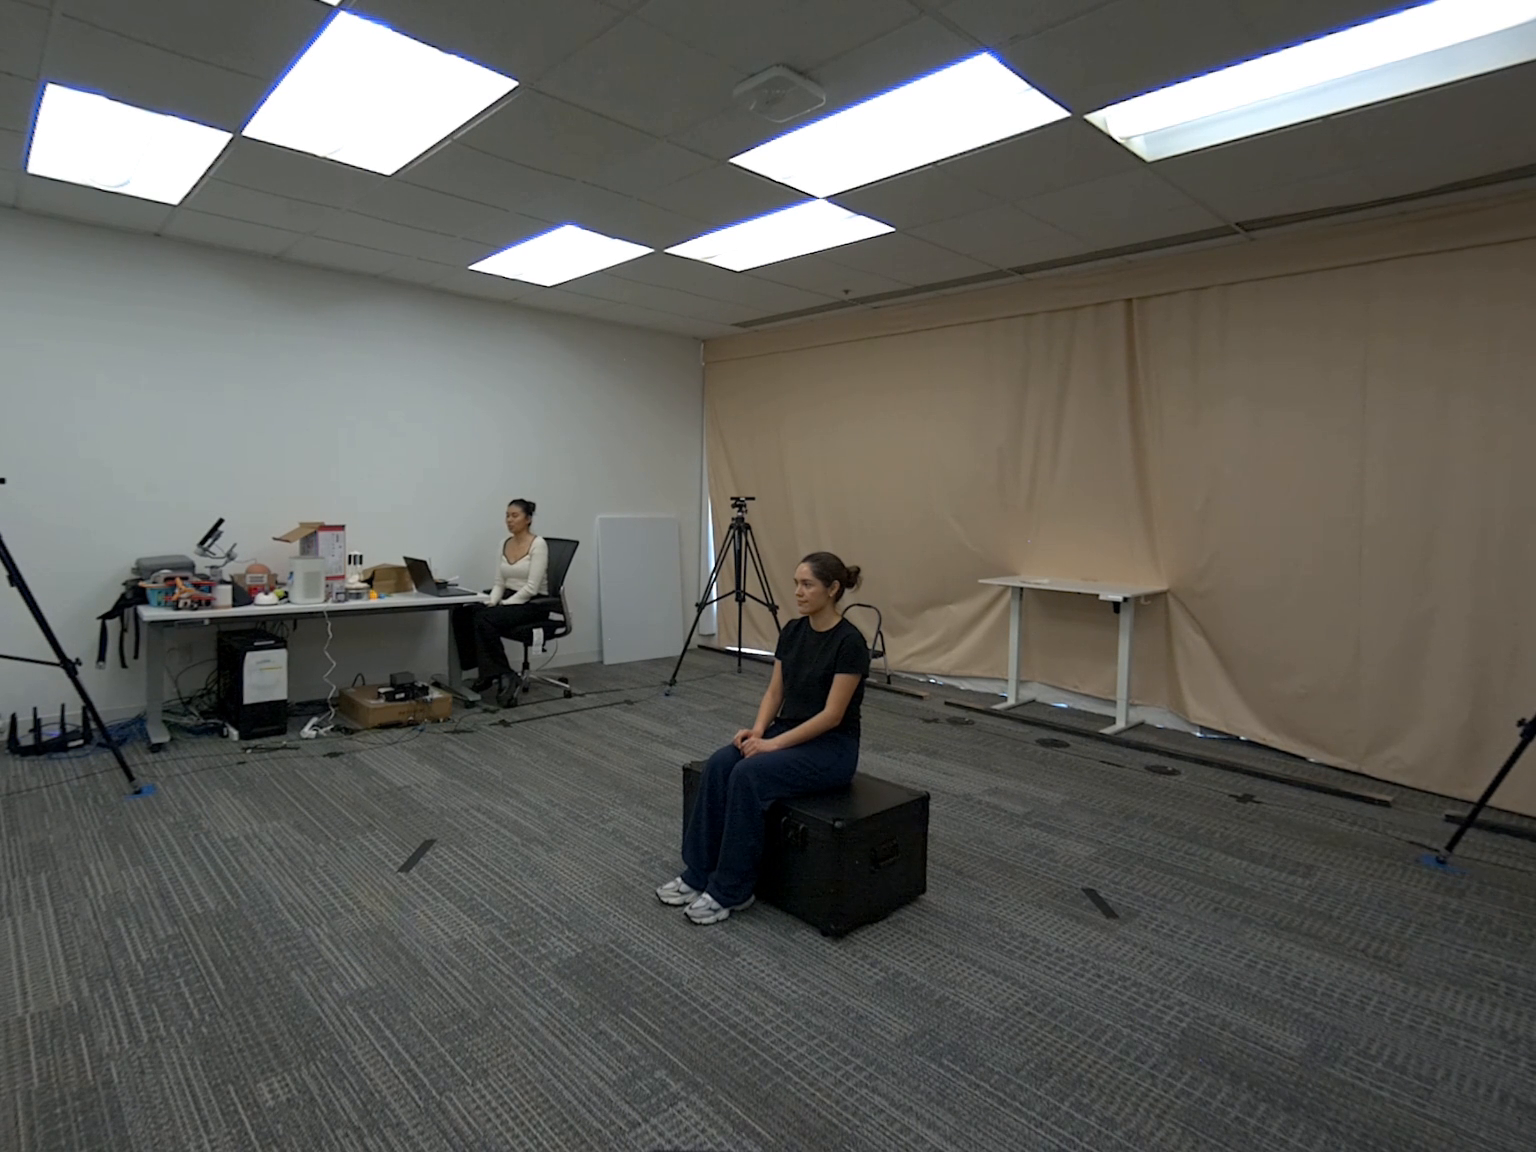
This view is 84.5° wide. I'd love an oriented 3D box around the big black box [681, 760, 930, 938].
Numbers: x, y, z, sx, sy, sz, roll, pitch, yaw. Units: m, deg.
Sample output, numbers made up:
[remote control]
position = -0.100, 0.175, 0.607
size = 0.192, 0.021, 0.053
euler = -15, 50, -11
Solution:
[big black box]
position = 0.093, 0.926, 3.087
size = 0.509, 0.395, 0.884
euler = -2, 6, -44
